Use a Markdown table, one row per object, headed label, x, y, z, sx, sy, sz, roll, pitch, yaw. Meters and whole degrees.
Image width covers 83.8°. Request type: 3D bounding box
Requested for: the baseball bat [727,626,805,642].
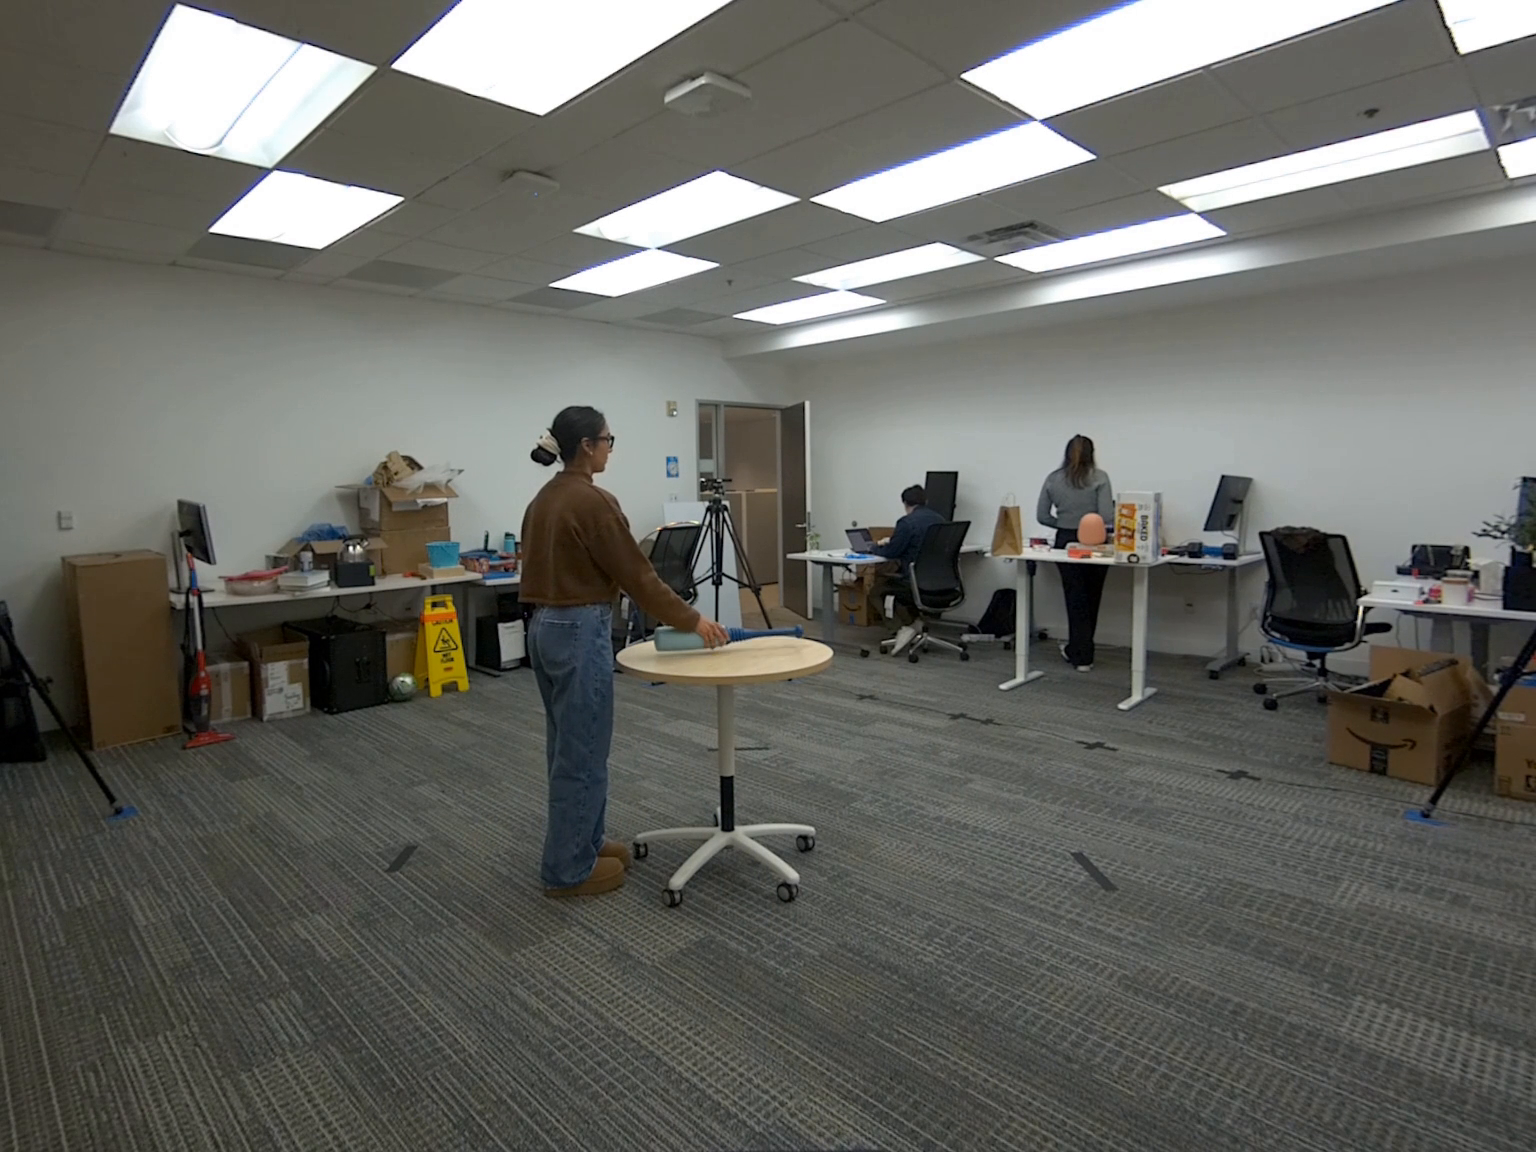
| label | x | y | z | sx | sy | sz | roll | pitch | yaw |
| --- | --- | --- | --- | --- | --- | --- | --- | --- | --- |
| baseball bat | -0.134 | 0.197 | 3.052 | 0.537 | 0.089 | 0.090 | -2 | 5 | -11 |
